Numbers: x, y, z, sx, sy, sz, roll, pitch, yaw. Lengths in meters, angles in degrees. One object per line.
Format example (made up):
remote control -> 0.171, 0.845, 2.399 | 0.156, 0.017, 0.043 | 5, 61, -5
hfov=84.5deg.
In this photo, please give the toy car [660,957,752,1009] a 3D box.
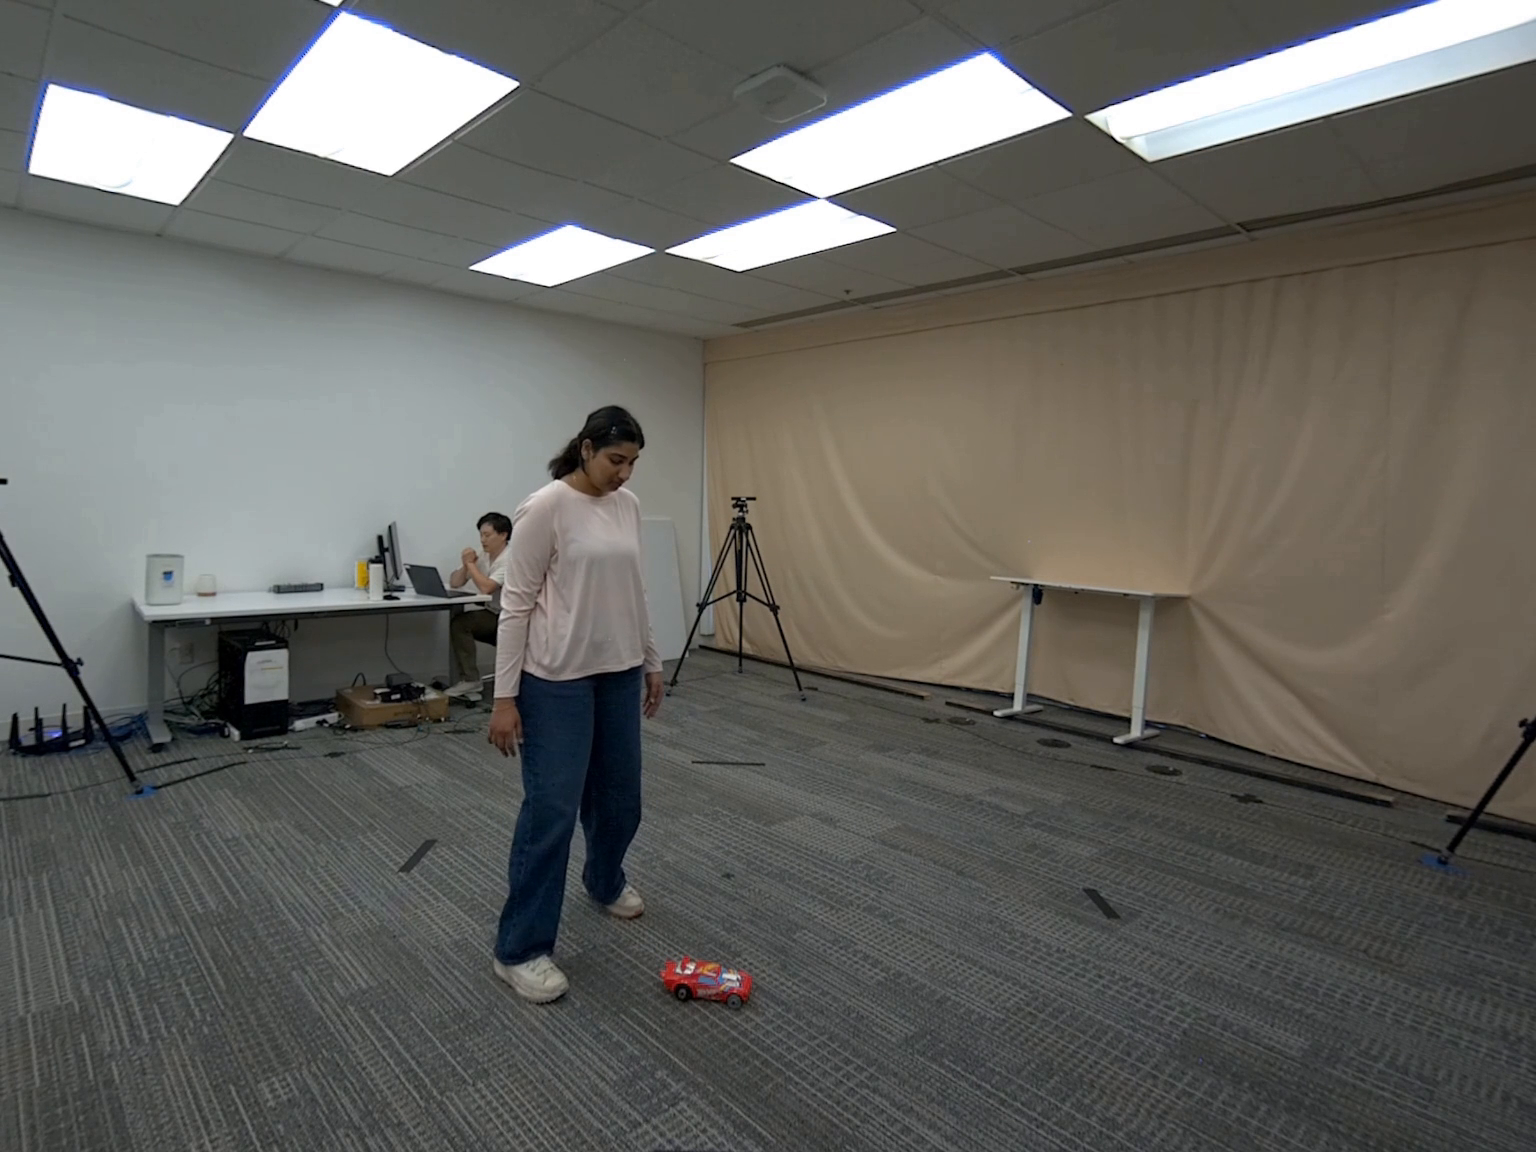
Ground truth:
toy car -> -0.185, 1.144, 2.355 | 0.257, 0.083, 0.129 | 15, 6, 10
